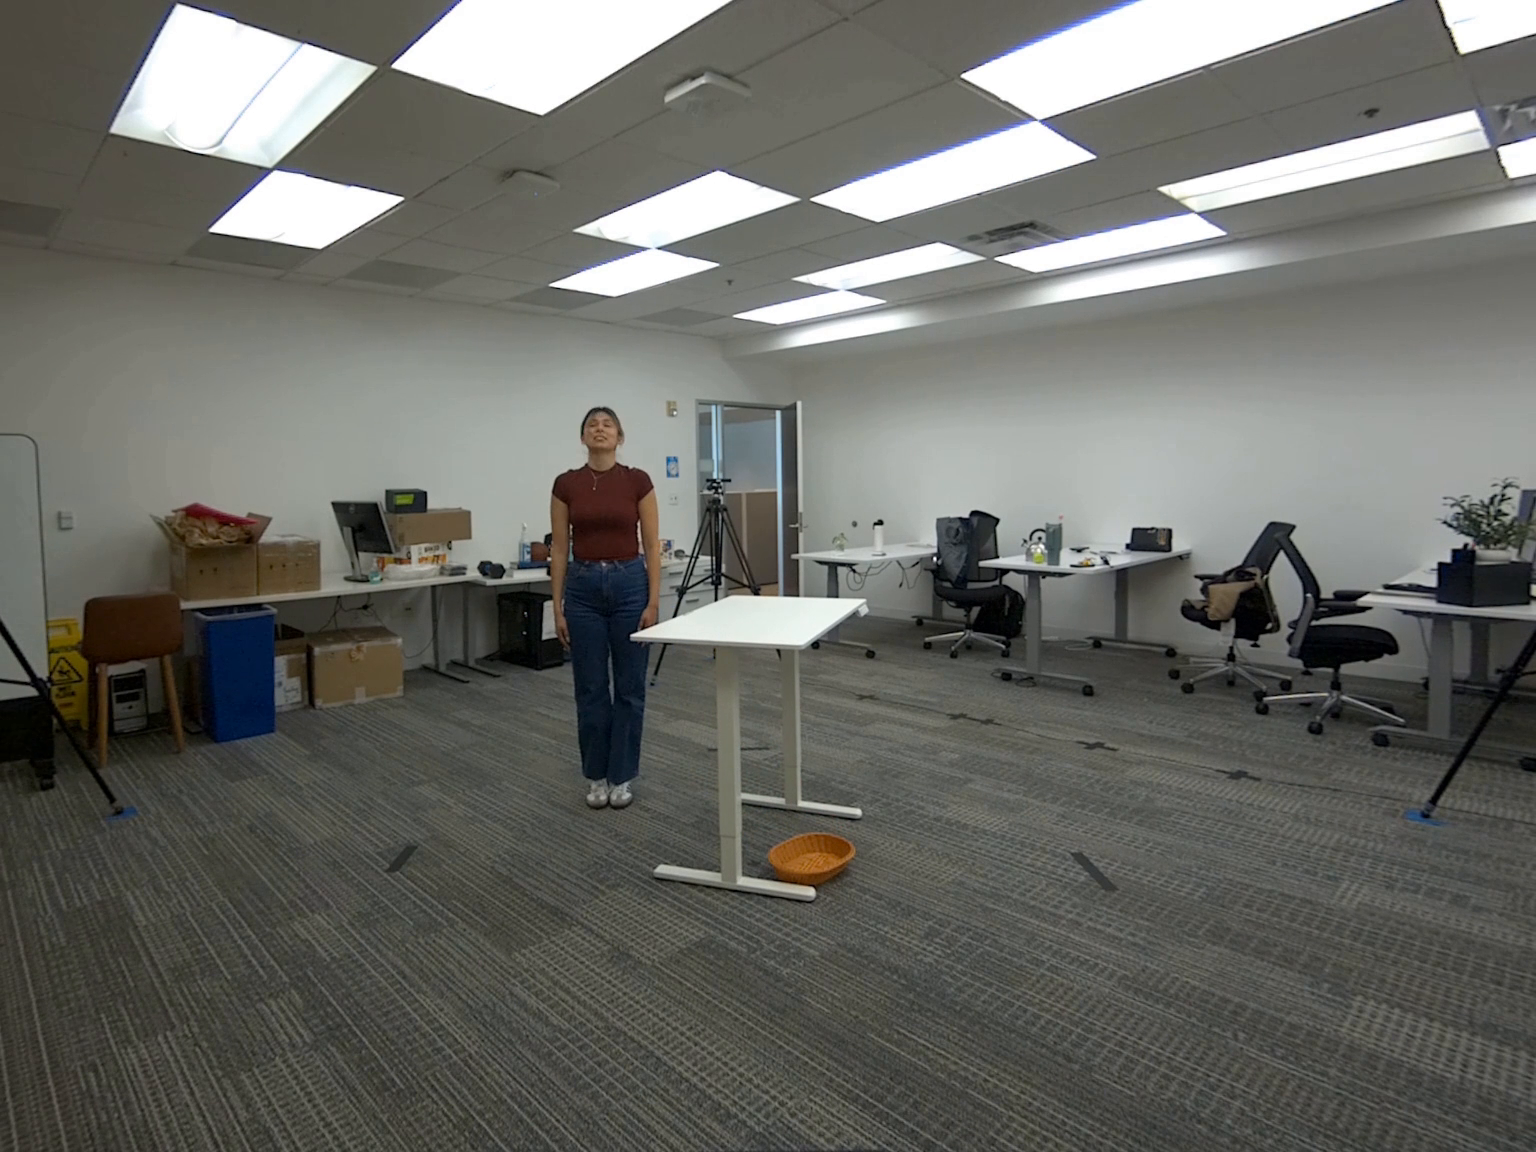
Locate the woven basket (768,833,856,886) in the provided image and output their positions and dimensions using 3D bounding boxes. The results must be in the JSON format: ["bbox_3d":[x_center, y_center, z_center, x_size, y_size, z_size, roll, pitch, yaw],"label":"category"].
[{"bbox_3d":[0.152,1.006,3.044,0.260,0.073,0.341,6,9,44],"label":"woven basket"}]
